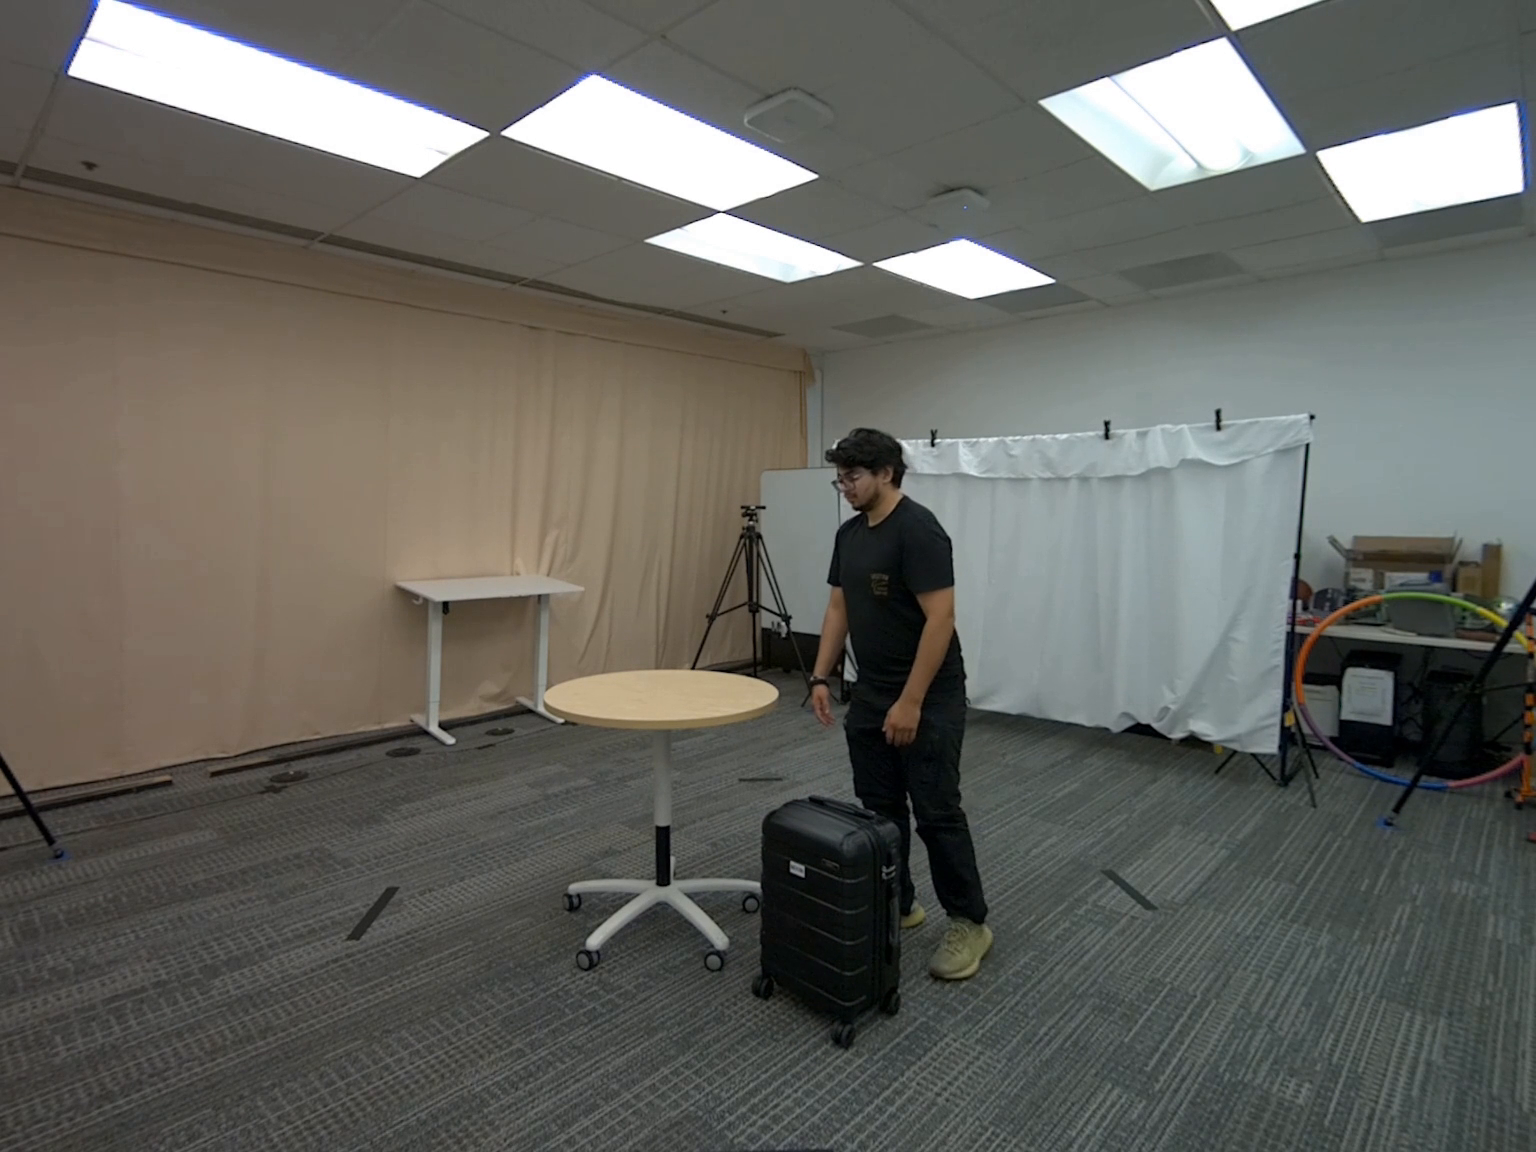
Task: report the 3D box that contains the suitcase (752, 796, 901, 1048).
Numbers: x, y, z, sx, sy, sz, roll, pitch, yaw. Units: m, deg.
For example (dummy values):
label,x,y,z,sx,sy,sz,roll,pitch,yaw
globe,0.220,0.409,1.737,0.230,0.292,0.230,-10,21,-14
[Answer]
label,x,y,z,sx,sy,sz,roll,pitch,yaw
suitcase,0.176,0.920,2.344,0.240,0.548,0.388,0,3,-45
